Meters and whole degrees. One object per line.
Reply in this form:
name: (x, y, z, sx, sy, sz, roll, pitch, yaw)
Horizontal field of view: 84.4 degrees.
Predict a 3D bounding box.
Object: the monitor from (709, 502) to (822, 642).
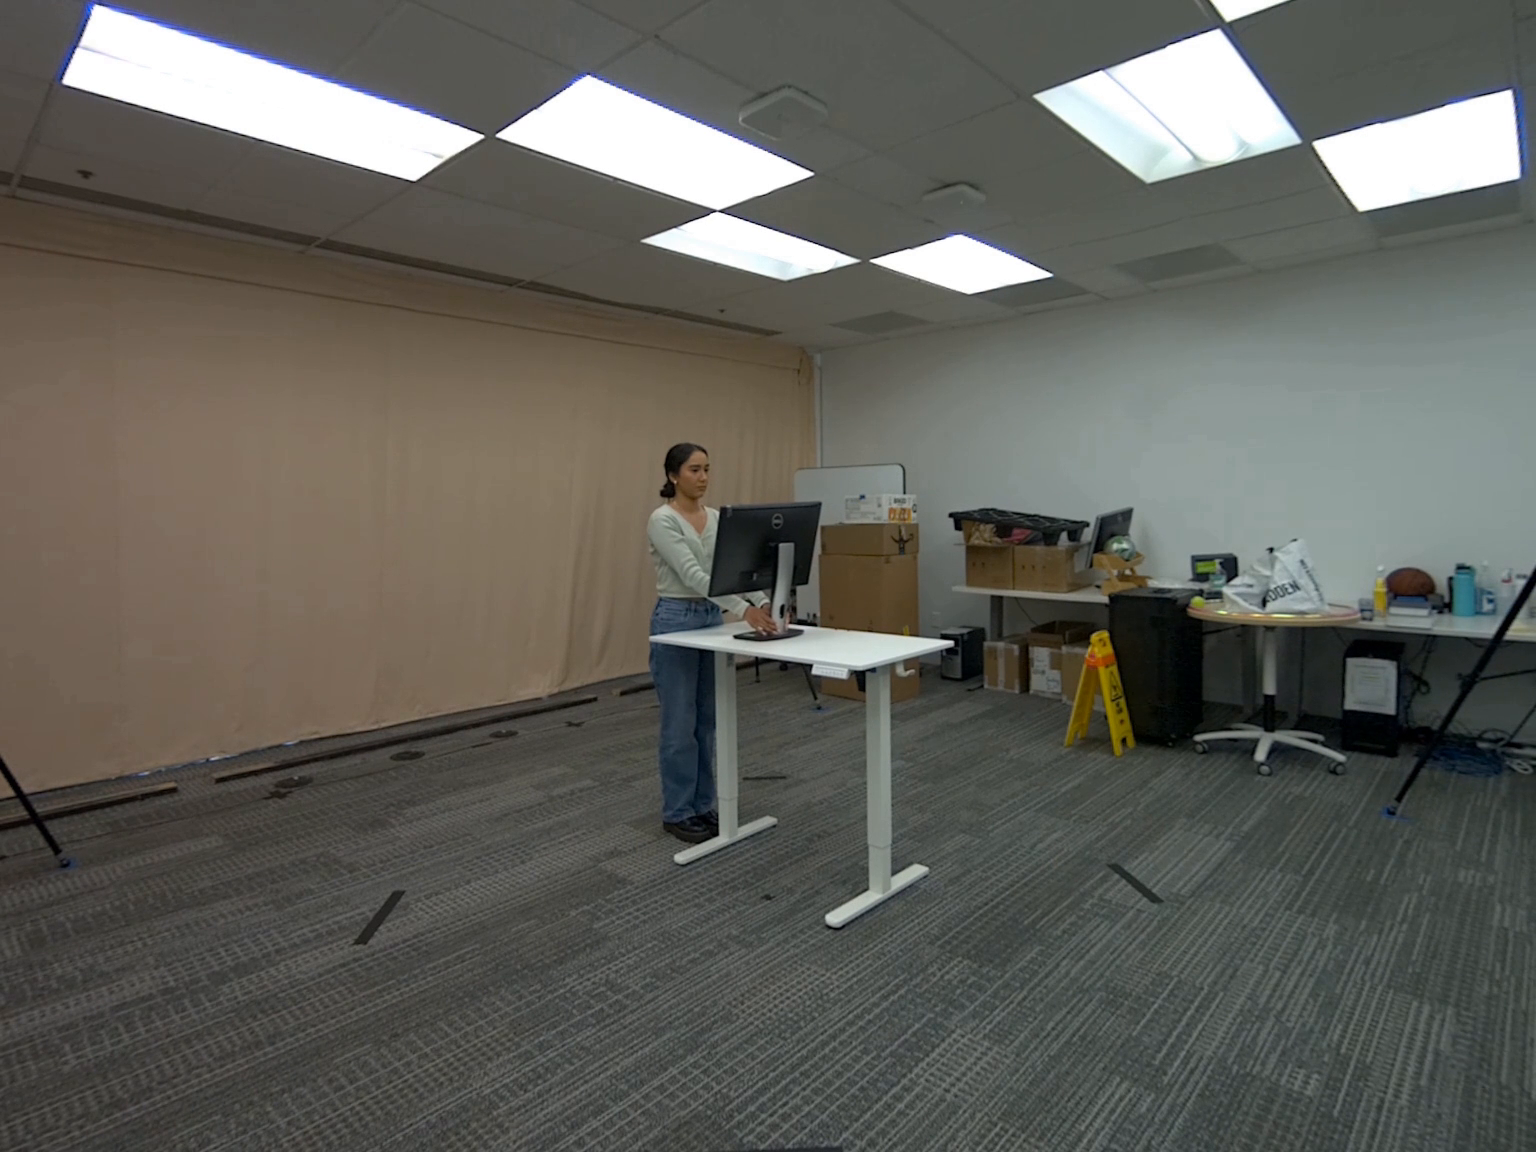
monitor: (0.029, -0.018, 3.245, 0.193, 0.521, 0.523, 3, 6, 45)
